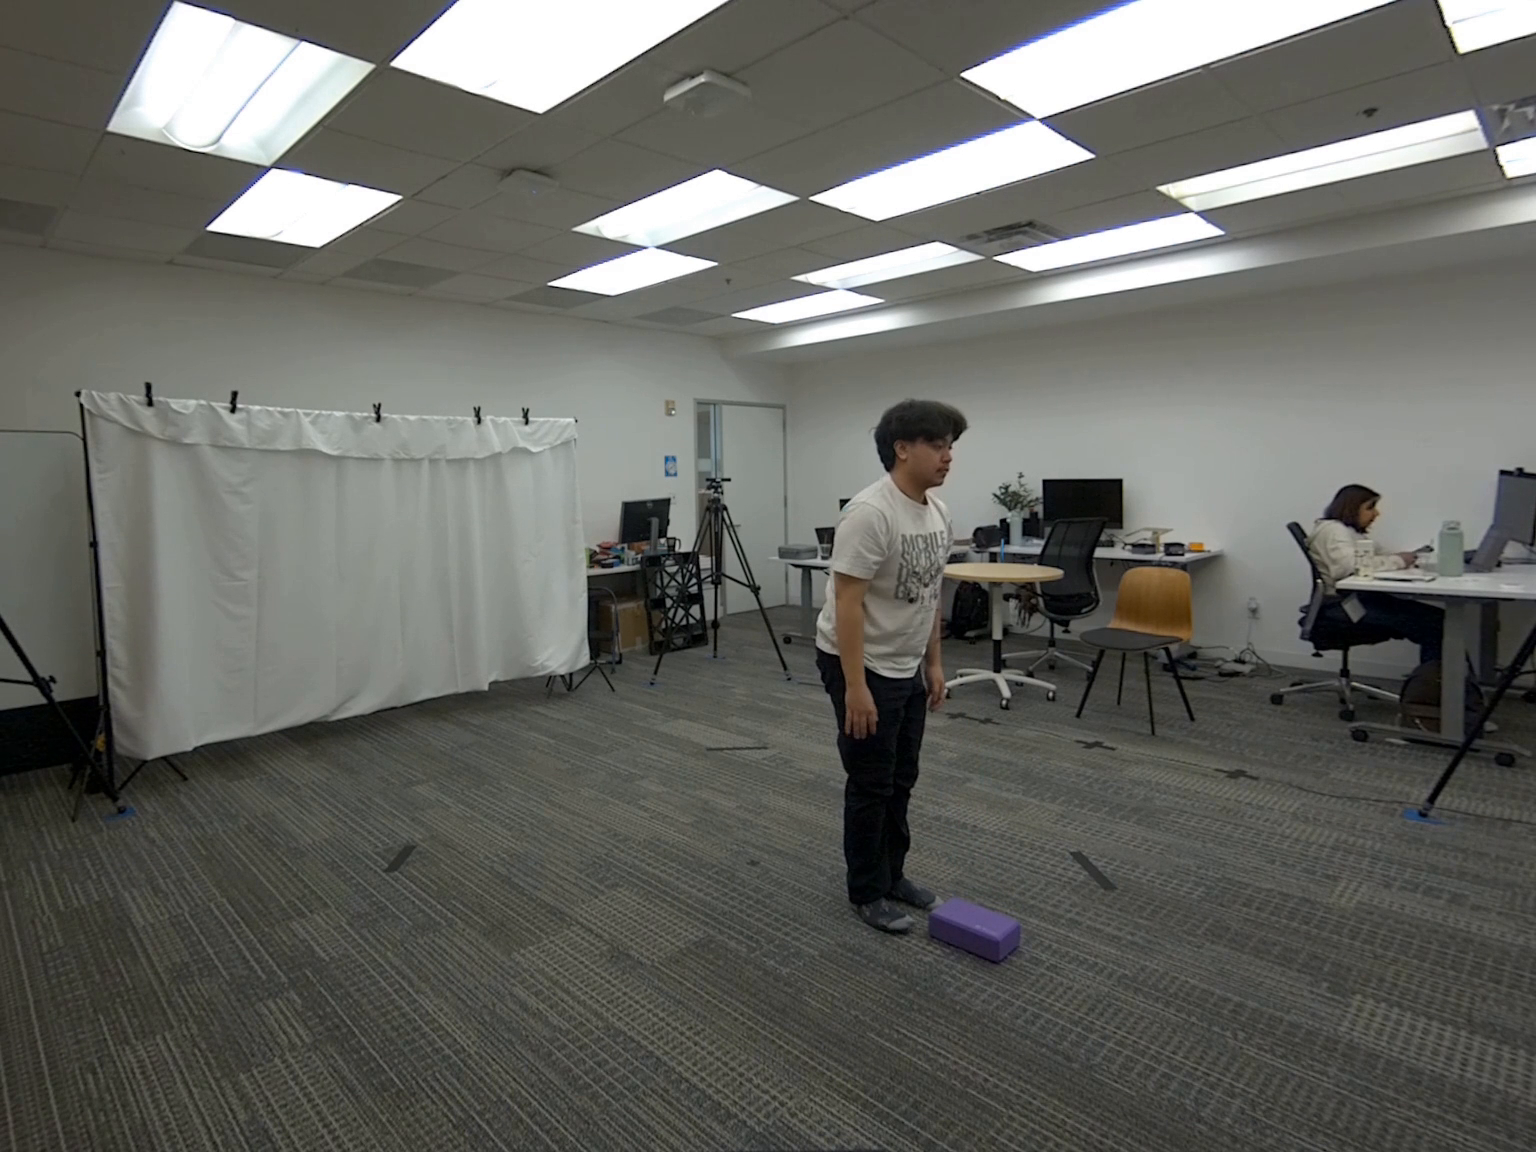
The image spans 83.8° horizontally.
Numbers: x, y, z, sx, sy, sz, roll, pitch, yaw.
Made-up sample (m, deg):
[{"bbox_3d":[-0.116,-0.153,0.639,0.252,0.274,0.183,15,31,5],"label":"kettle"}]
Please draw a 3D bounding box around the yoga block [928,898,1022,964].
[{"bbox_3d":[0.615,1.049,2.562,0.236,0.076,0.145,6,8,43],"label":"yoga block"}]
